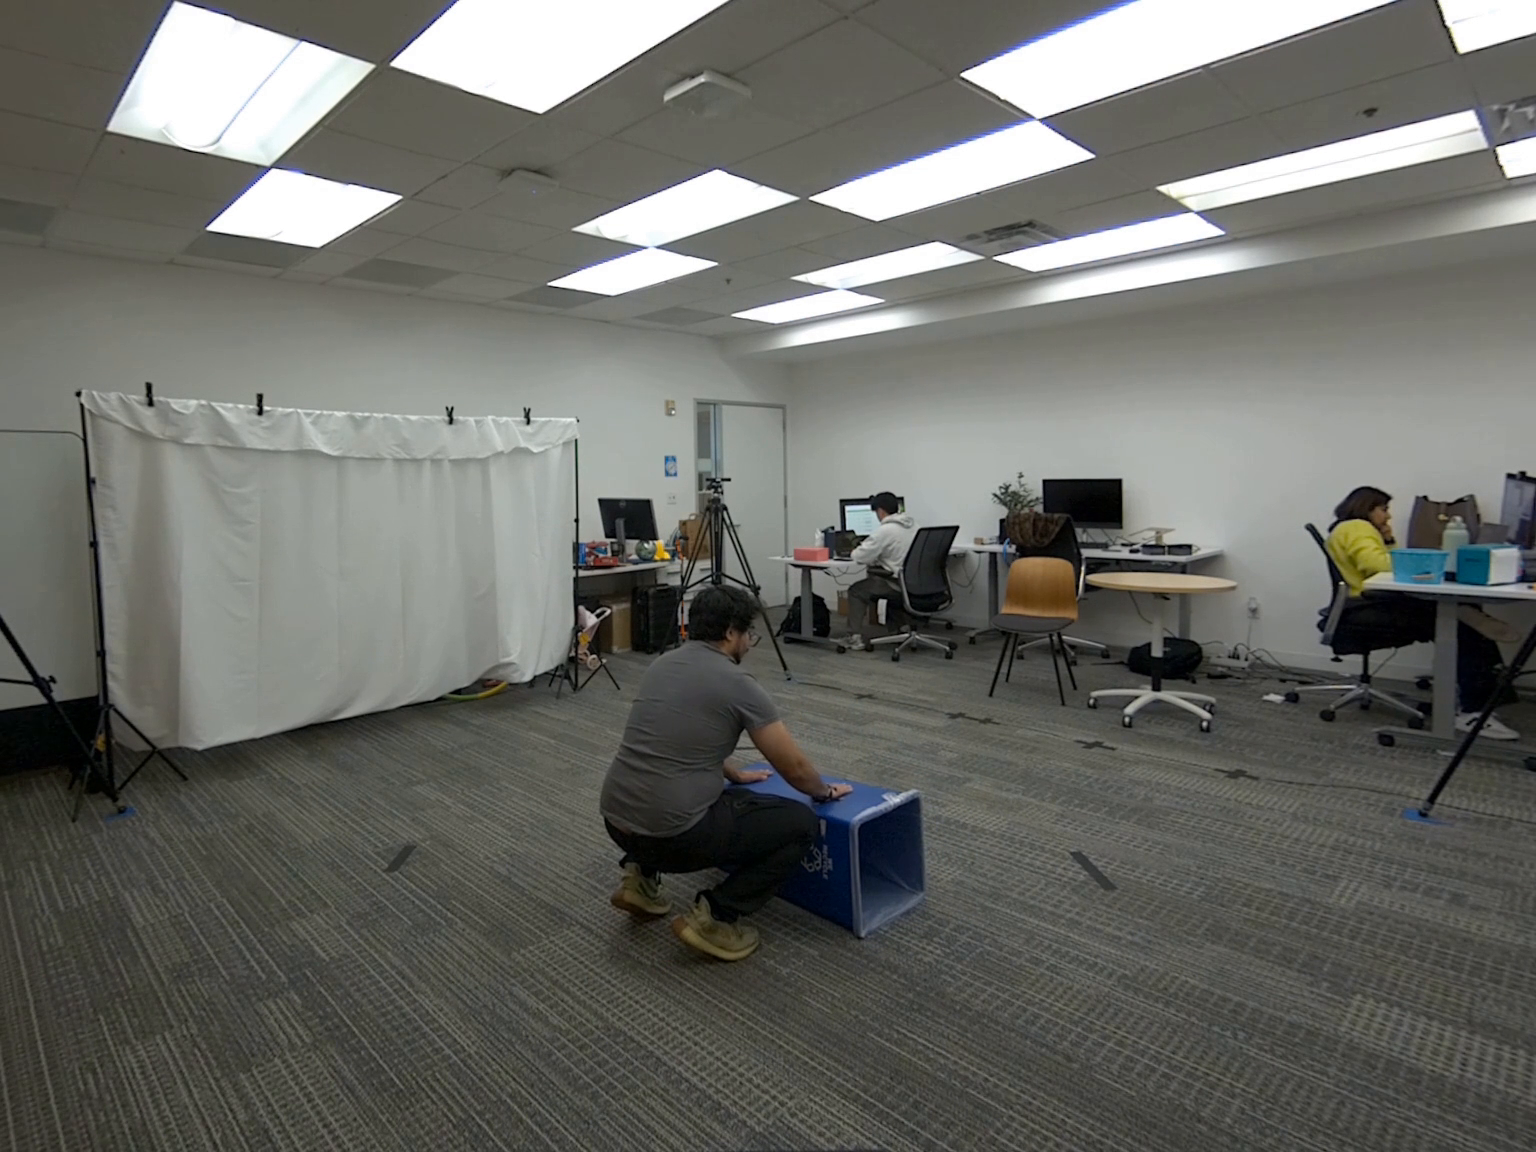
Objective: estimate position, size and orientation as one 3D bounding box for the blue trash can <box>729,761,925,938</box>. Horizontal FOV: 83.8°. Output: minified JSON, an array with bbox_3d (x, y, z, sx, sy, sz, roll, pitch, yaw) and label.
[{"bbox_3d":[0.137,0.885,2.949,0.364,0.377,0.735,-6,6,-44],"label":"blue trash can"}]
